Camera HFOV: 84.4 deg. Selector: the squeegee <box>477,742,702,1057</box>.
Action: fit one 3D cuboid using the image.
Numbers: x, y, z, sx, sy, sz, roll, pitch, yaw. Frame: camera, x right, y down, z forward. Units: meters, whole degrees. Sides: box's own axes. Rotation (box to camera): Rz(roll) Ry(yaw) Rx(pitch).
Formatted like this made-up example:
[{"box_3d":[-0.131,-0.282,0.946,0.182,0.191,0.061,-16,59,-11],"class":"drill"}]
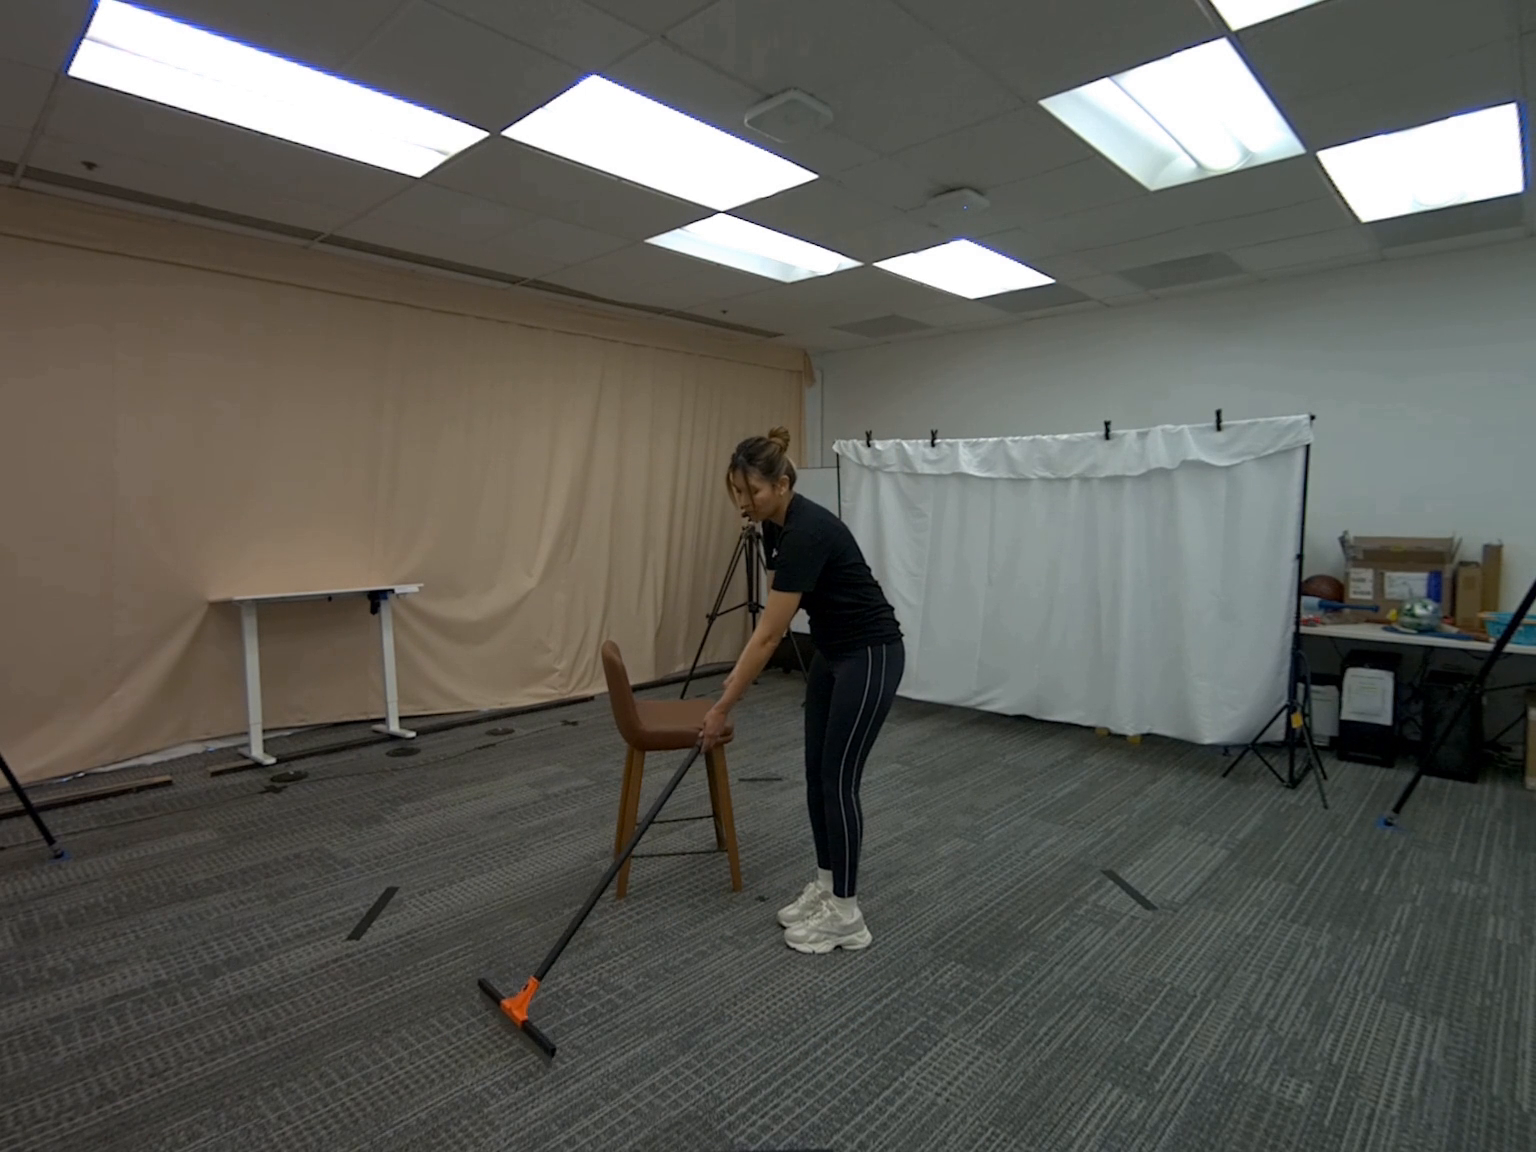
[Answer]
[{"box_3d":[-0.252,0.609,2.517,0.452,0.051,1.530,3,47,50],"class":"squeegee"}]
